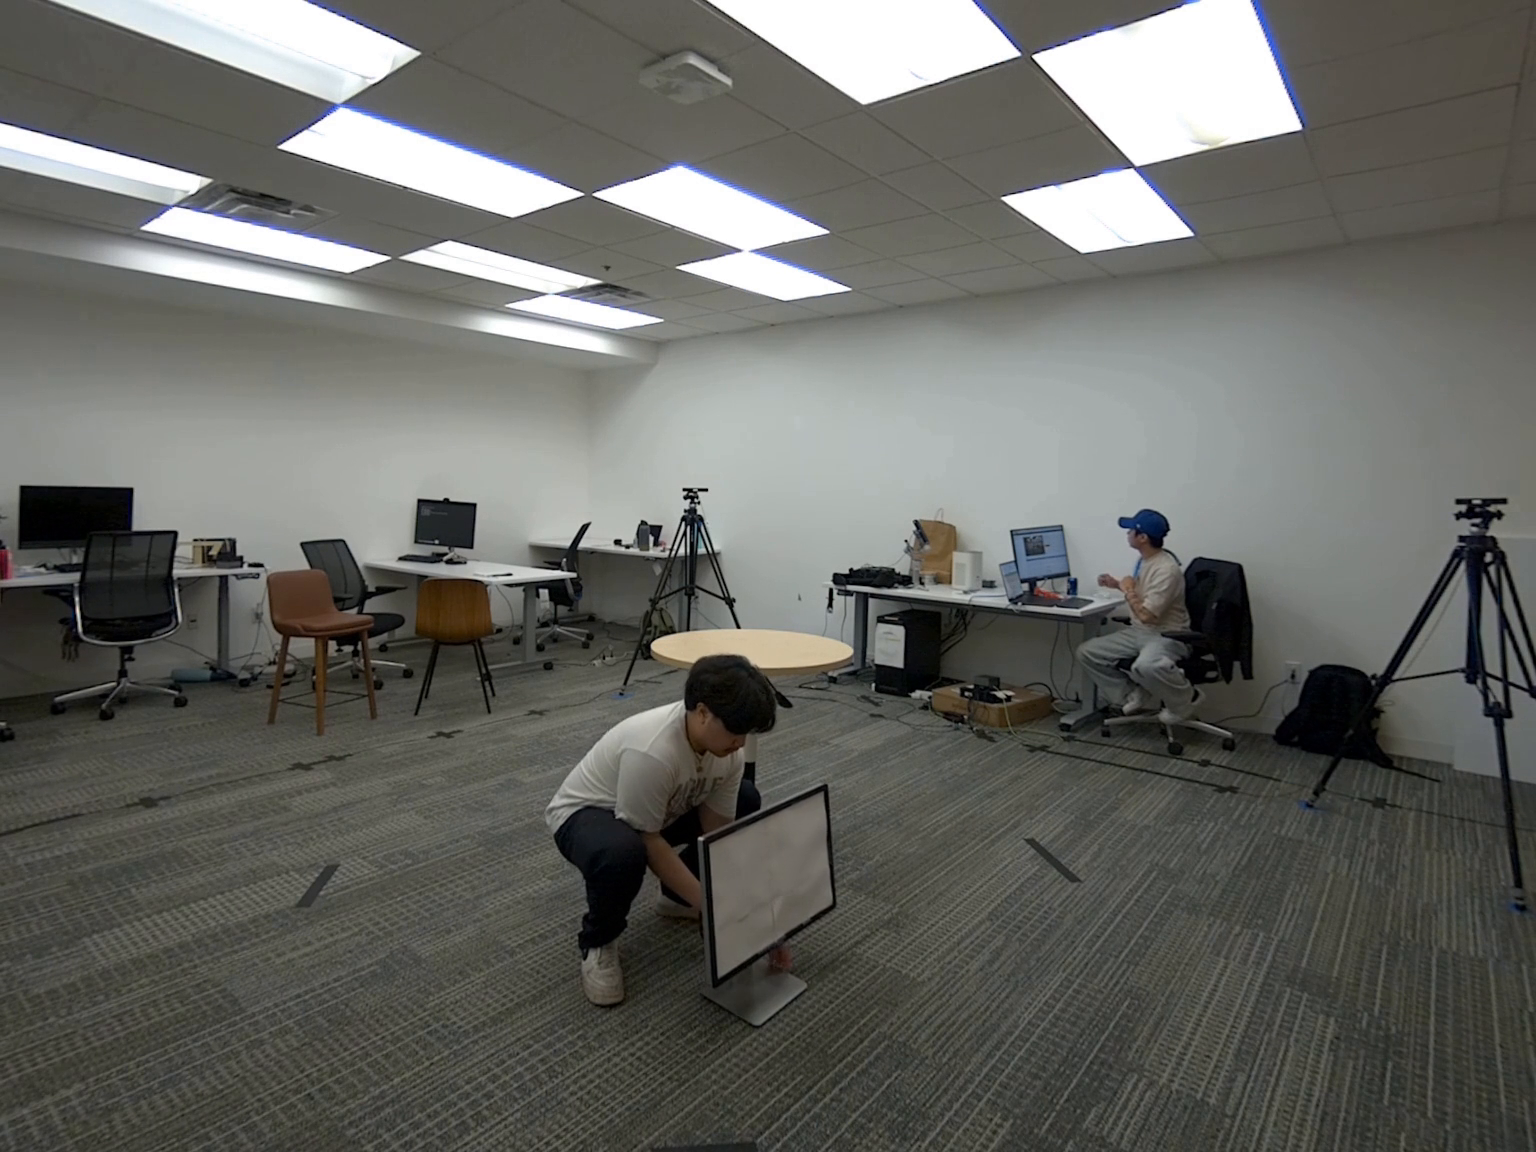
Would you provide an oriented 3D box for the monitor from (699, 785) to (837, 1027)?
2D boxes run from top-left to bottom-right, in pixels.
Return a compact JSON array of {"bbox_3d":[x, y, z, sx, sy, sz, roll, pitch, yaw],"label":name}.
[{"bbox_3d":[-0.047,0.893,2.347,0.217,0.552,0.549,2,4,39],"label":"monitor"}]
